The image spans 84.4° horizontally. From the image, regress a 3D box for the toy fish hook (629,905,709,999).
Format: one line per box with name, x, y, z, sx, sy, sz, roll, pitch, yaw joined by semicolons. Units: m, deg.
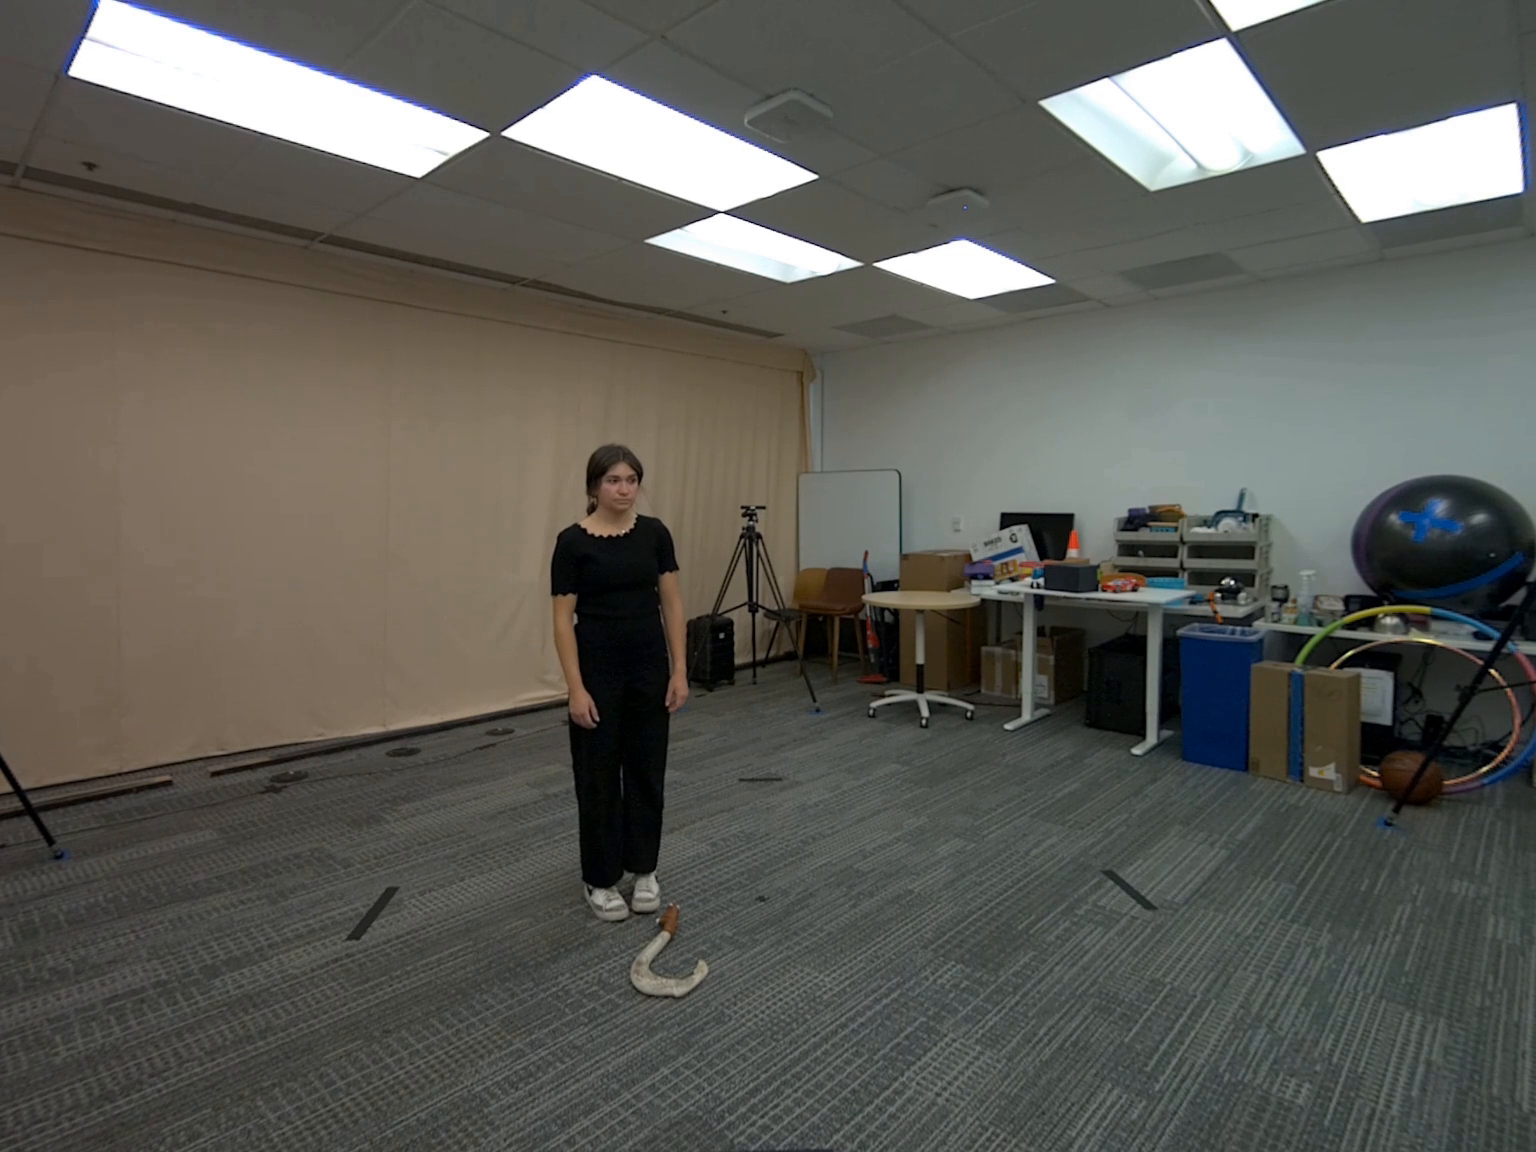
toy fish hook;-0.283;1.158;2.626;0.226;0.048;0.505;7;6;3
